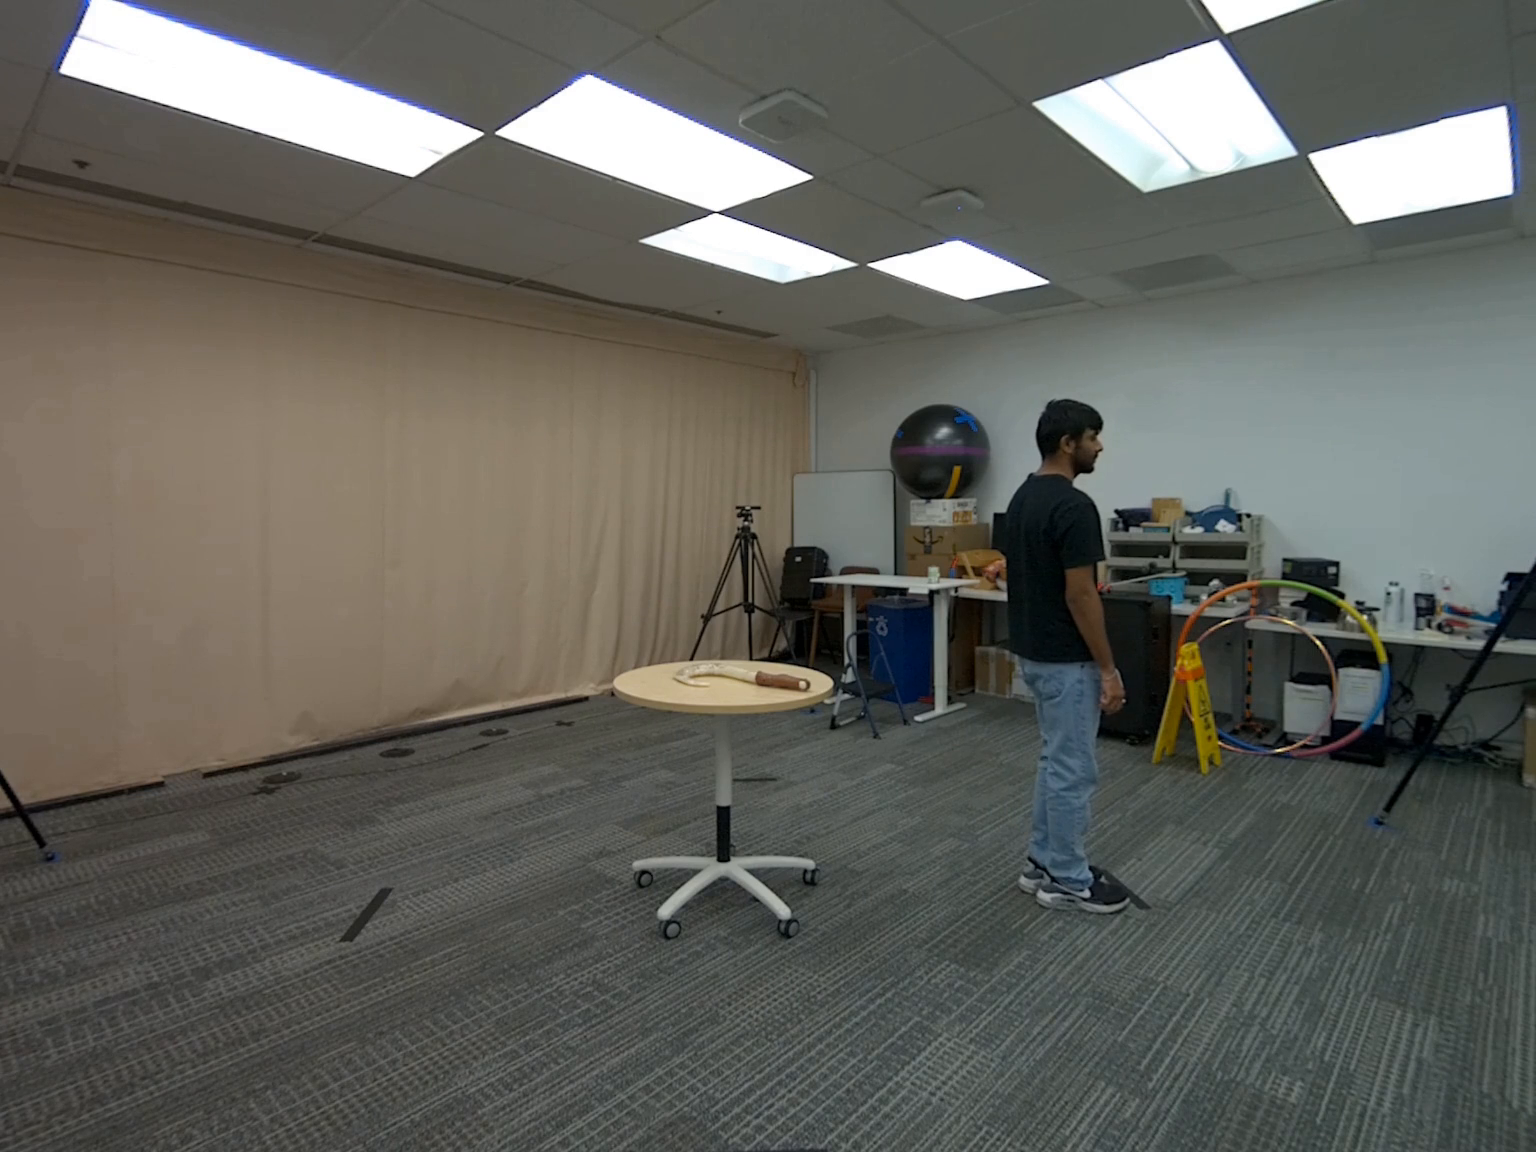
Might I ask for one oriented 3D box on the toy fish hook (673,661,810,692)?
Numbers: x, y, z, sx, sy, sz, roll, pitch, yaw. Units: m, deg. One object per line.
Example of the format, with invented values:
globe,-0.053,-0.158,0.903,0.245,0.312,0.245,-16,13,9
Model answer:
toy fish hook,-0.097,0.363,2.868,0.522,0.048,0.219,1,12,34
